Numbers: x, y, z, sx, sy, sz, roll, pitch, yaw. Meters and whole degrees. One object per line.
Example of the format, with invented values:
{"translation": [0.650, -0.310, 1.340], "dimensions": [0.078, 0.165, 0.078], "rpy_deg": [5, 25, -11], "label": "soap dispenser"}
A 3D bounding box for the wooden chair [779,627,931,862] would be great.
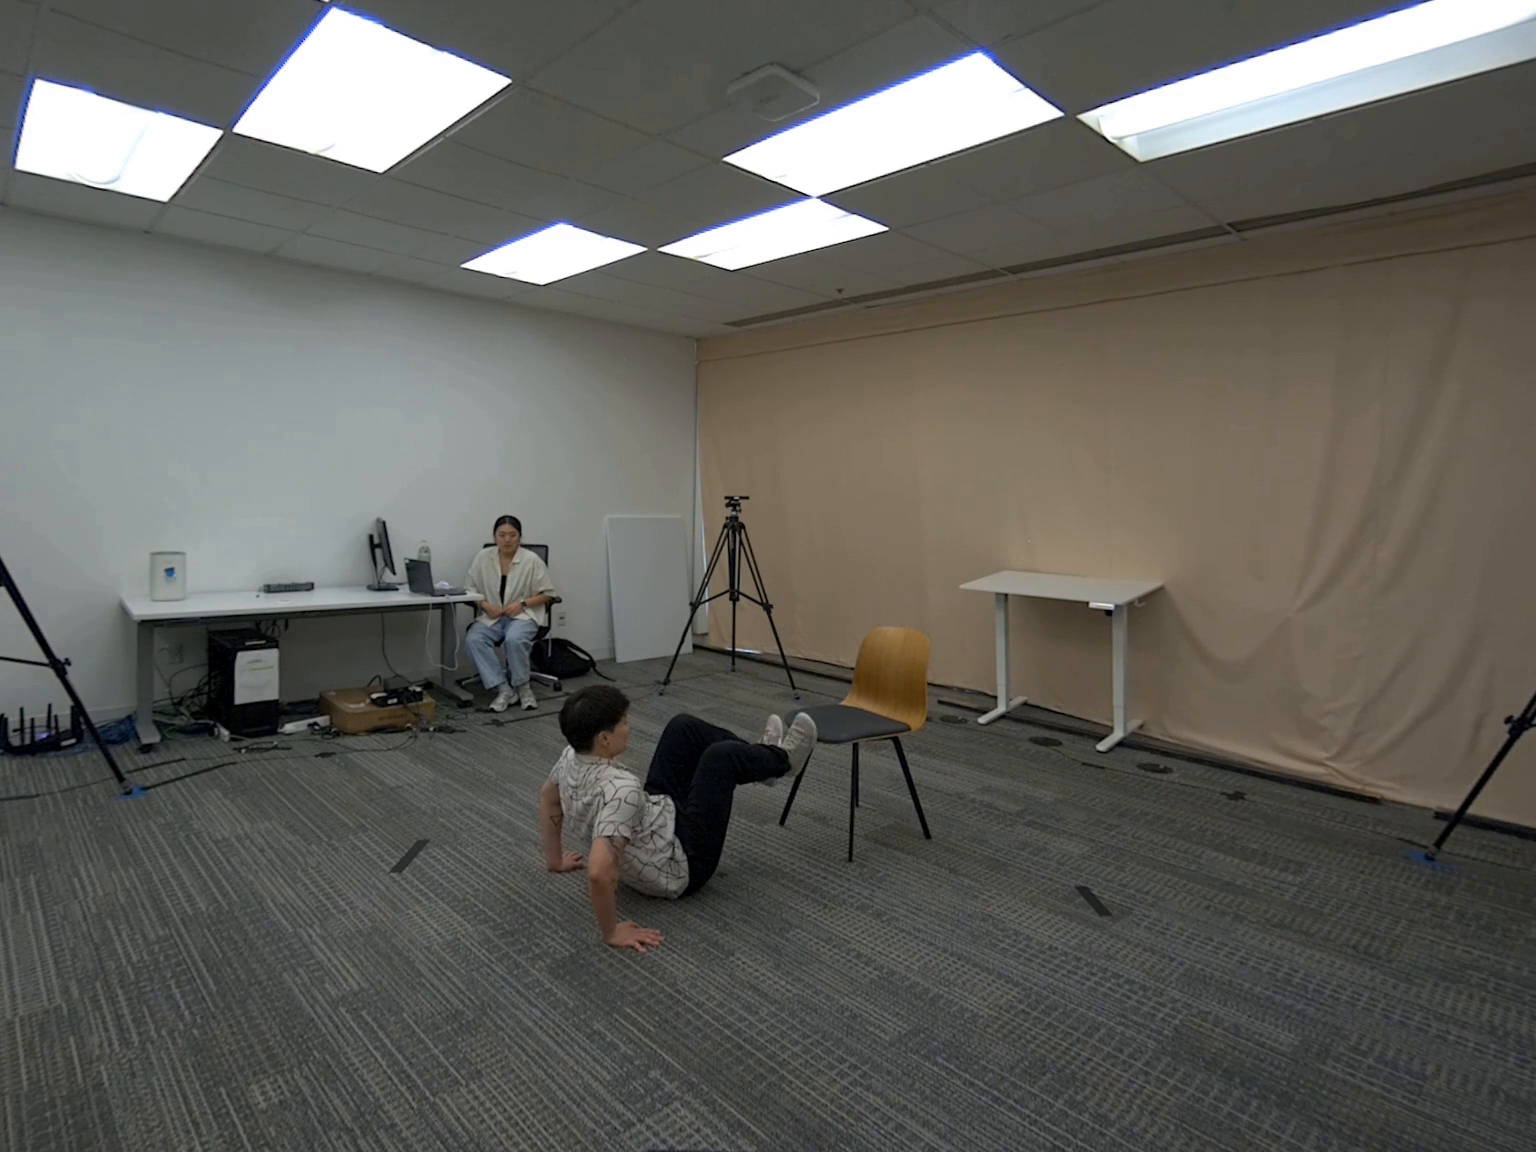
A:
{"translation": [0.362, 0.652, 3.513], "dimensions": [0.511, 0.877, 0.490], "rpy_deg": [5, 1, -36], "label": "wooden chair"}
